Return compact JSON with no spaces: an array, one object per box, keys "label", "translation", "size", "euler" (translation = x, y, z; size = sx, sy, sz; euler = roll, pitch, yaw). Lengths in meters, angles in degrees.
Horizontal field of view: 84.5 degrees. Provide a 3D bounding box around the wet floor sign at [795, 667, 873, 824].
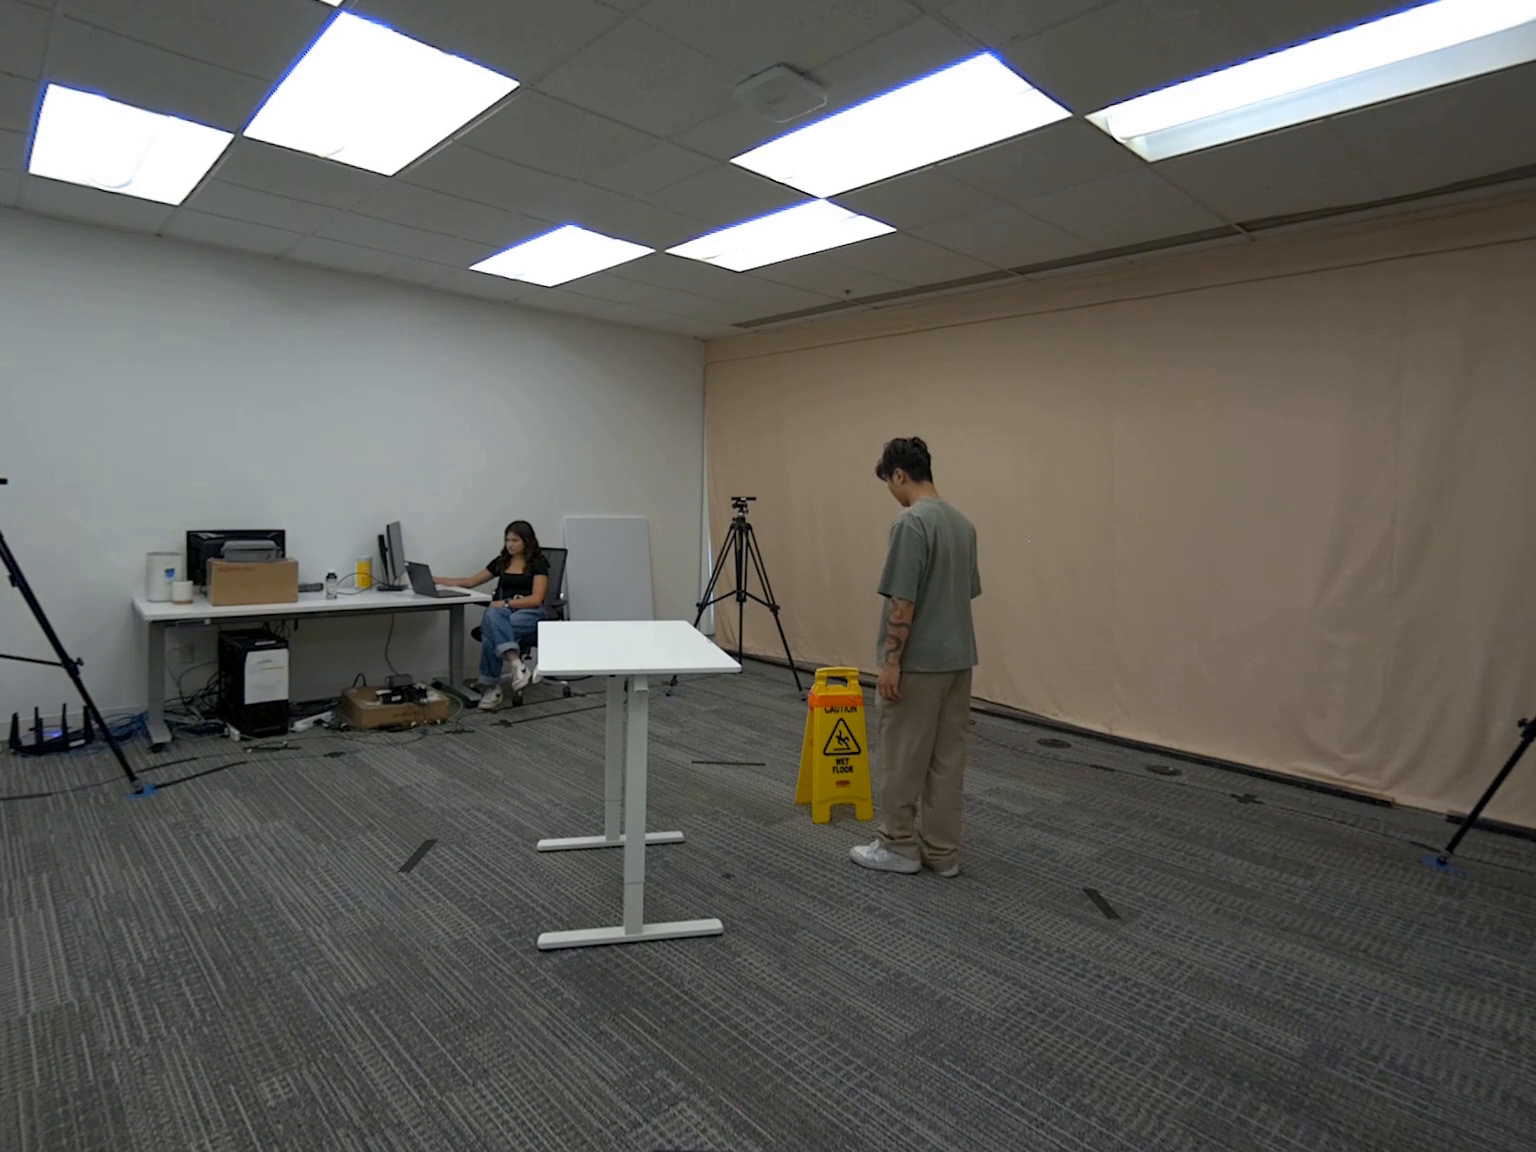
[{"label":"wet floor sign","translation":[0.292,0.733,3.783],"size":[0.279,0.645,0.293],"euler":[2,2,-14]}]
